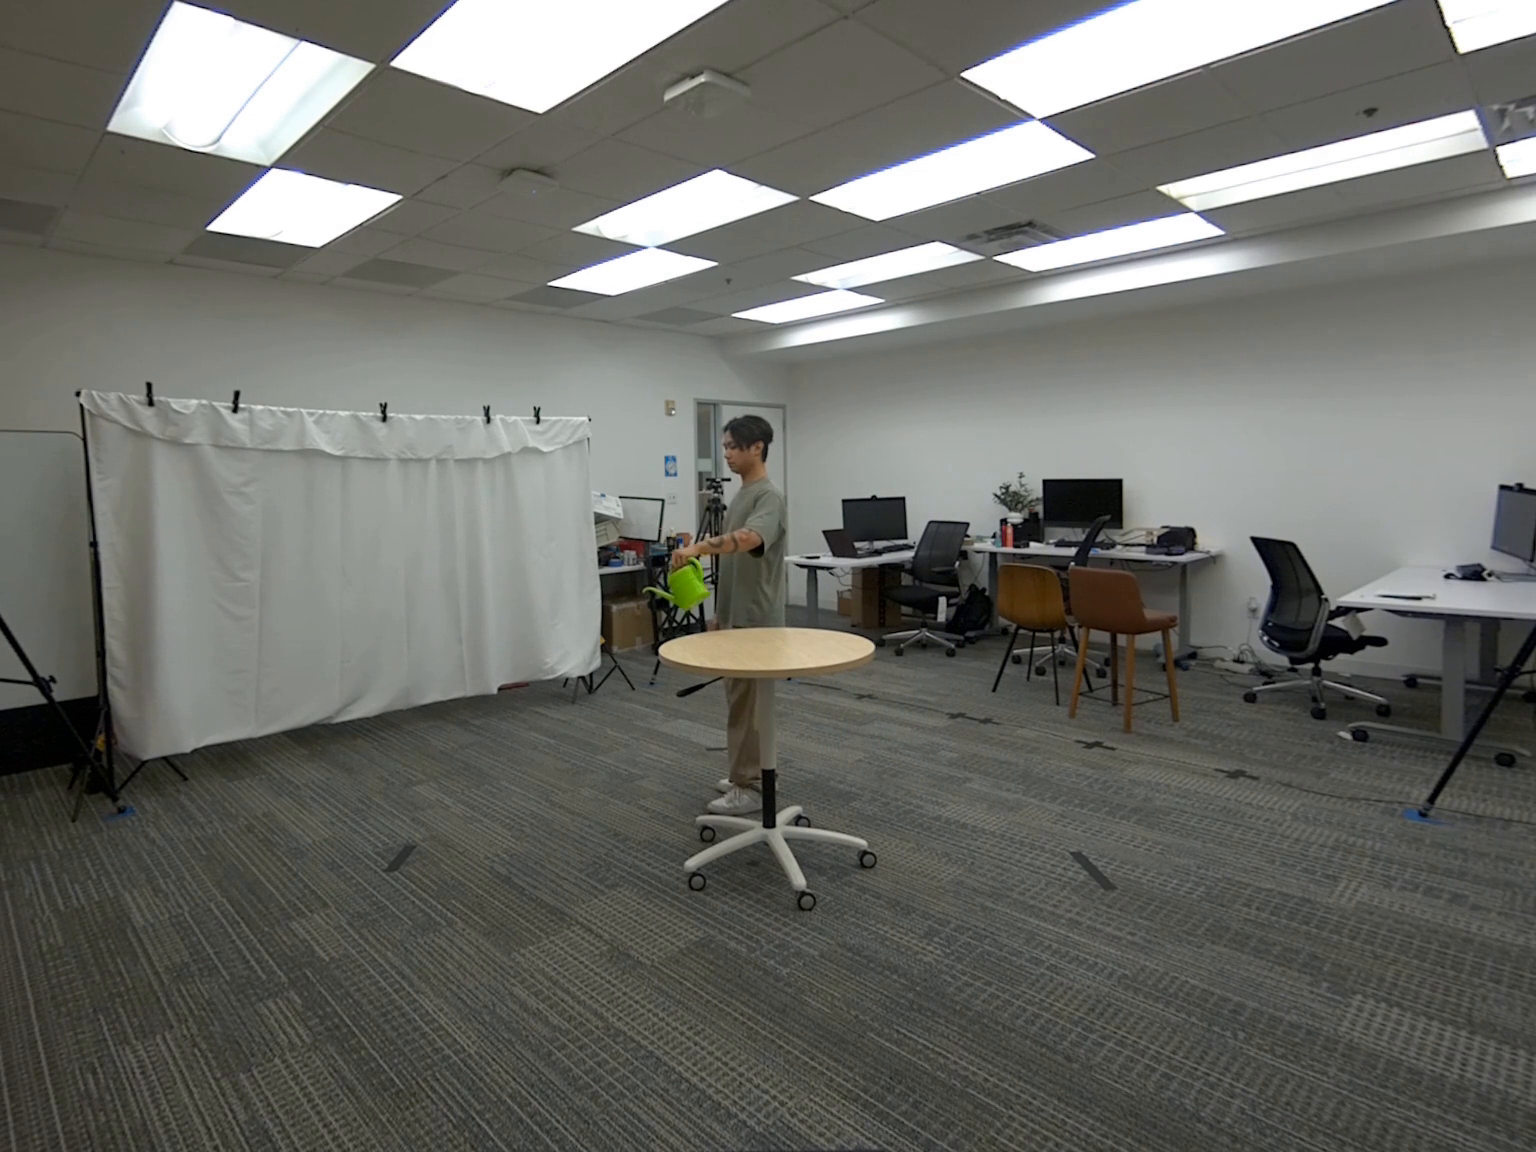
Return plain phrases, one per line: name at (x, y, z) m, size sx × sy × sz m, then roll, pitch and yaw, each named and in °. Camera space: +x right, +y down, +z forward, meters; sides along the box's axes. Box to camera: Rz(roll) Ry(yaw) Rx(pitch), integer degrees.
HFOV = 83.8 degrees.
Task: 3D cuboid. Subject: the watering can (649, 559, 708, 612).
watering can at (-0.341, 0.054, 3.321) m, size 0.096 × 0.180 × 0.279 m, roll -14°, pitch -21°, yaw -48°
